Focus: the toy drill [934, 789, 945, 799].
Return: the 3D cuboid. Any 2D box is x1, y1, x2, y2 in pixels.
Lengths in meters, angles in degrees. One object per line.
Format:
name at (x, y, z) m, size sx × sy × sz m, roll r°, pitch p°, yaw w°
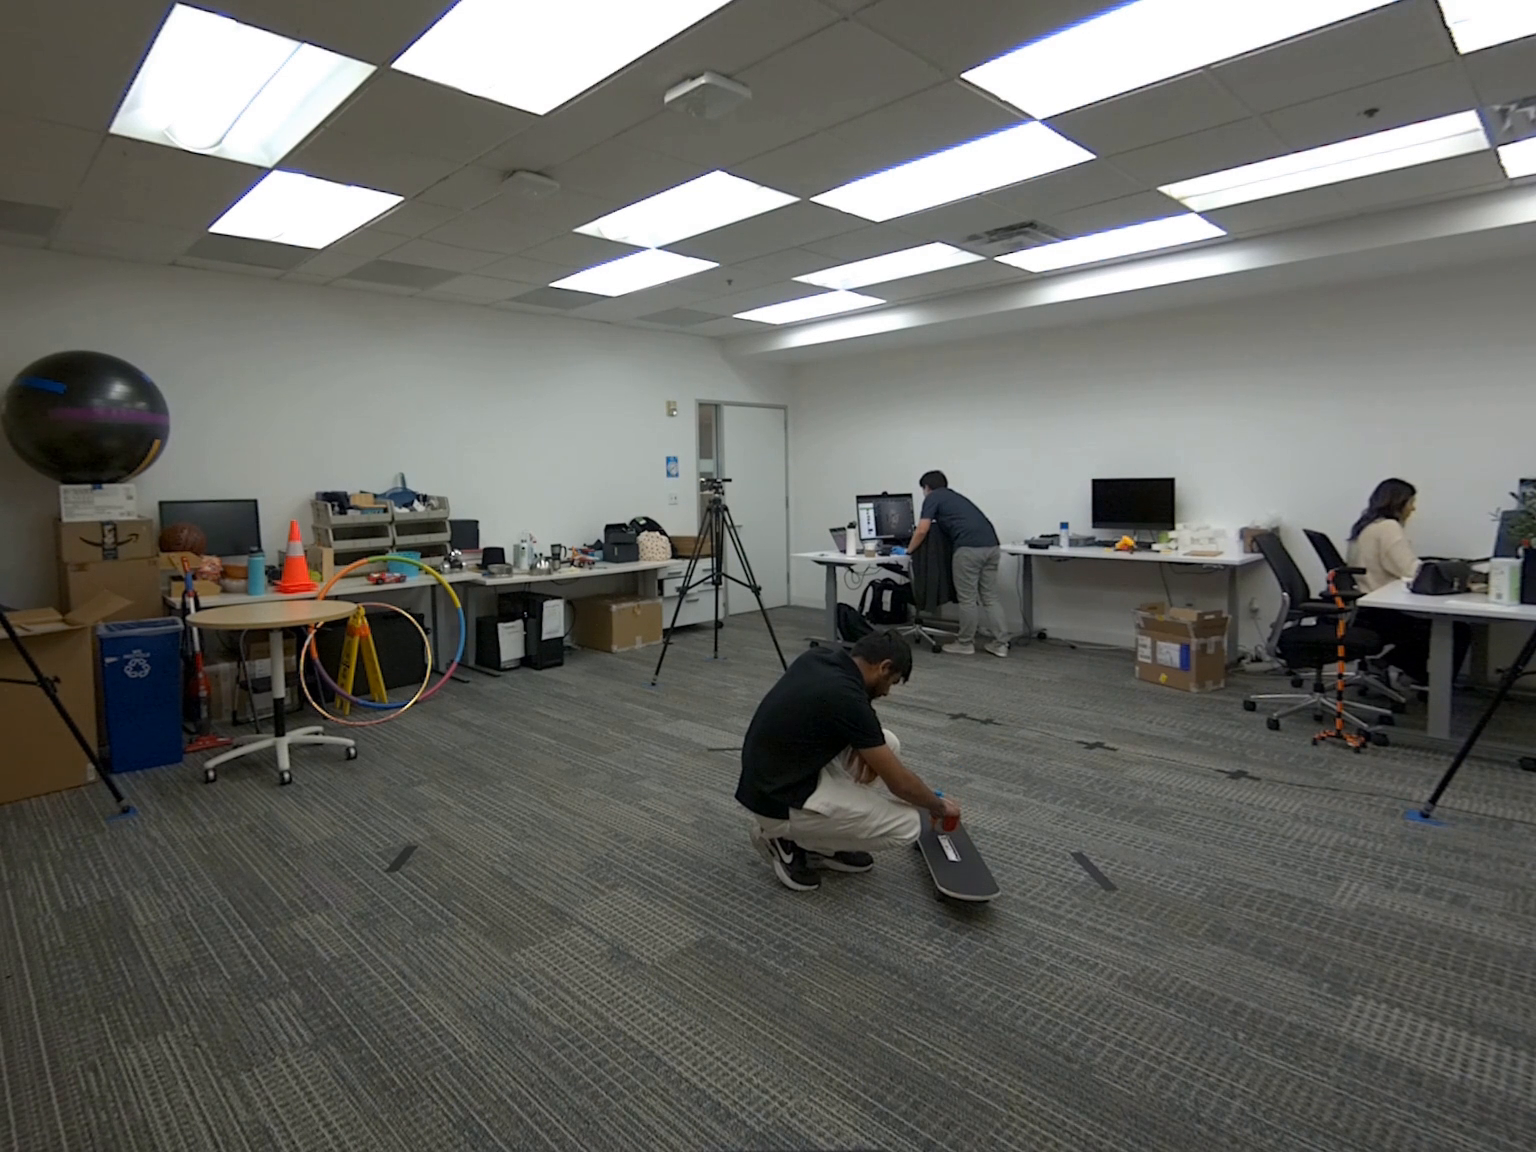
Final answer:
toy drill at (0.625, 0.875, 3.087) m, size 0.061 × 0.166 × 0.149 m, roll 2°, pitch 26°, yaw -3°
